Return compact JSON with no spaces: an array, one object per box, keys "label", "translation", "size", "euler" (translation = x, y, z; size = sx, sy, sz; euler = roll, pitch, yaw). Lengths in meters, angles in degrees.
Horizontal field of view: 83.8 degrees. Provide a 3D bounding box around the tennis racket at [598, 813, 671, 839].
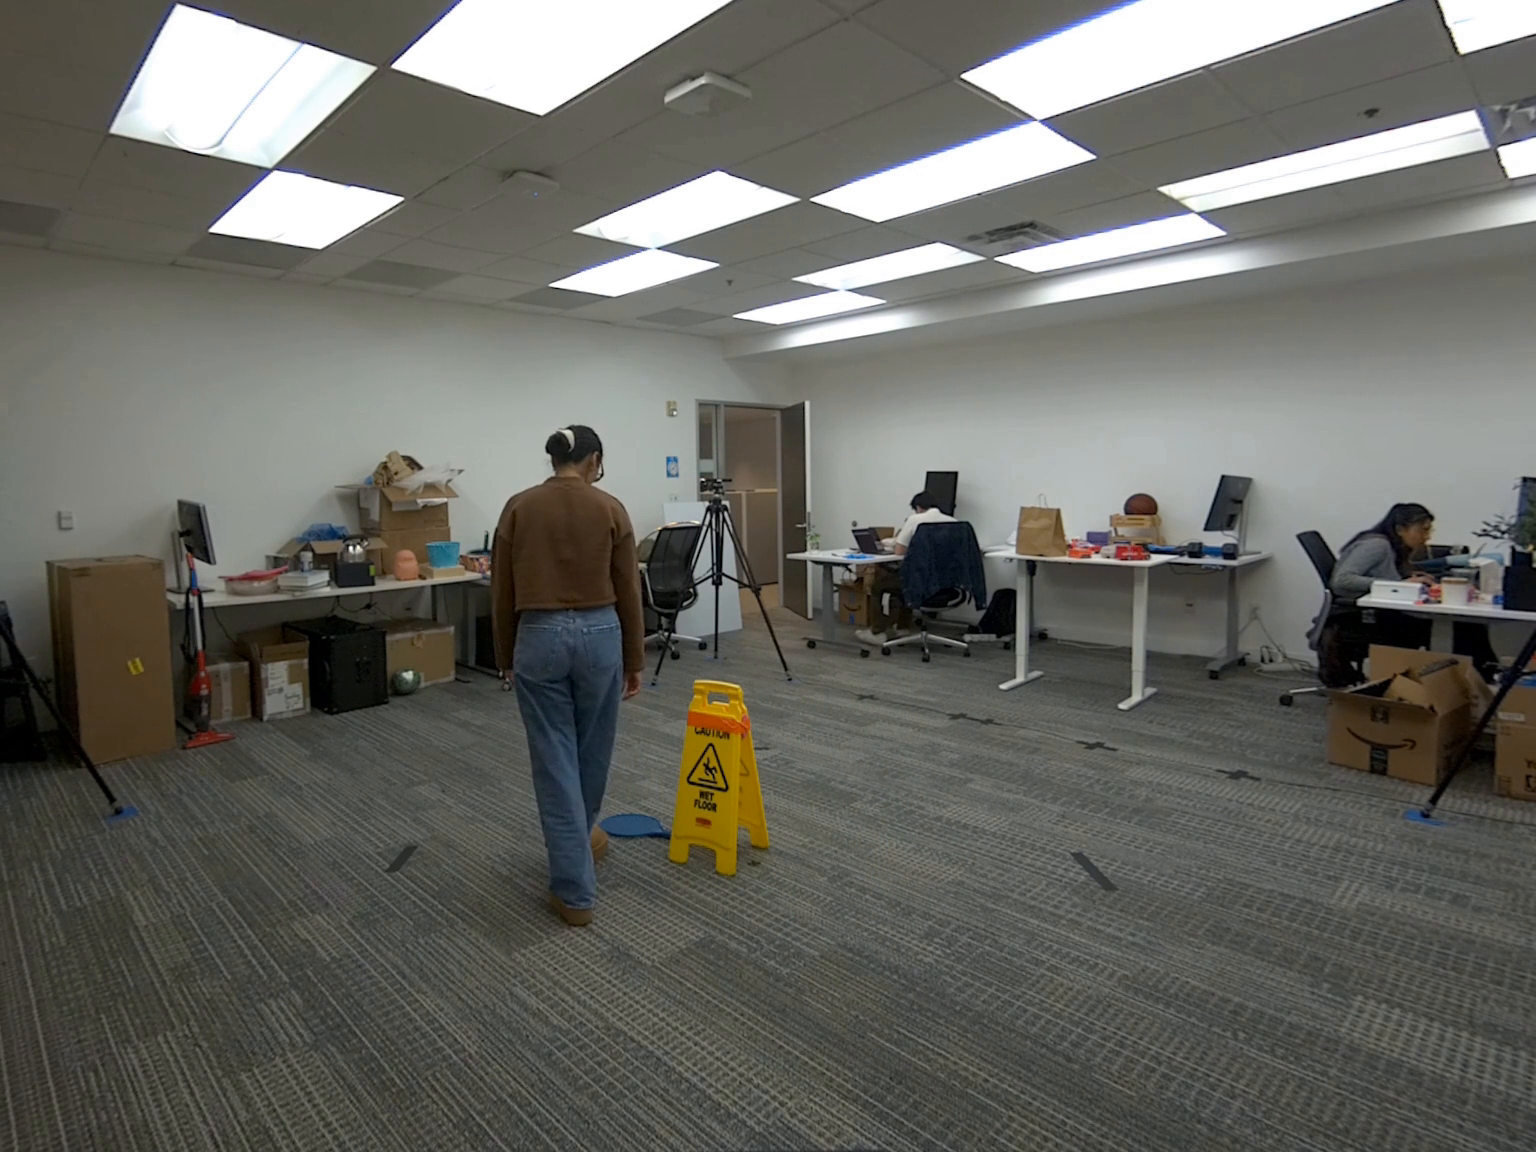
[{"label":"tennis racket","translation":[-0.480,1.004,3.397],"size":[0.445,0.031,0.209],"euler":[1,6,34]}]
